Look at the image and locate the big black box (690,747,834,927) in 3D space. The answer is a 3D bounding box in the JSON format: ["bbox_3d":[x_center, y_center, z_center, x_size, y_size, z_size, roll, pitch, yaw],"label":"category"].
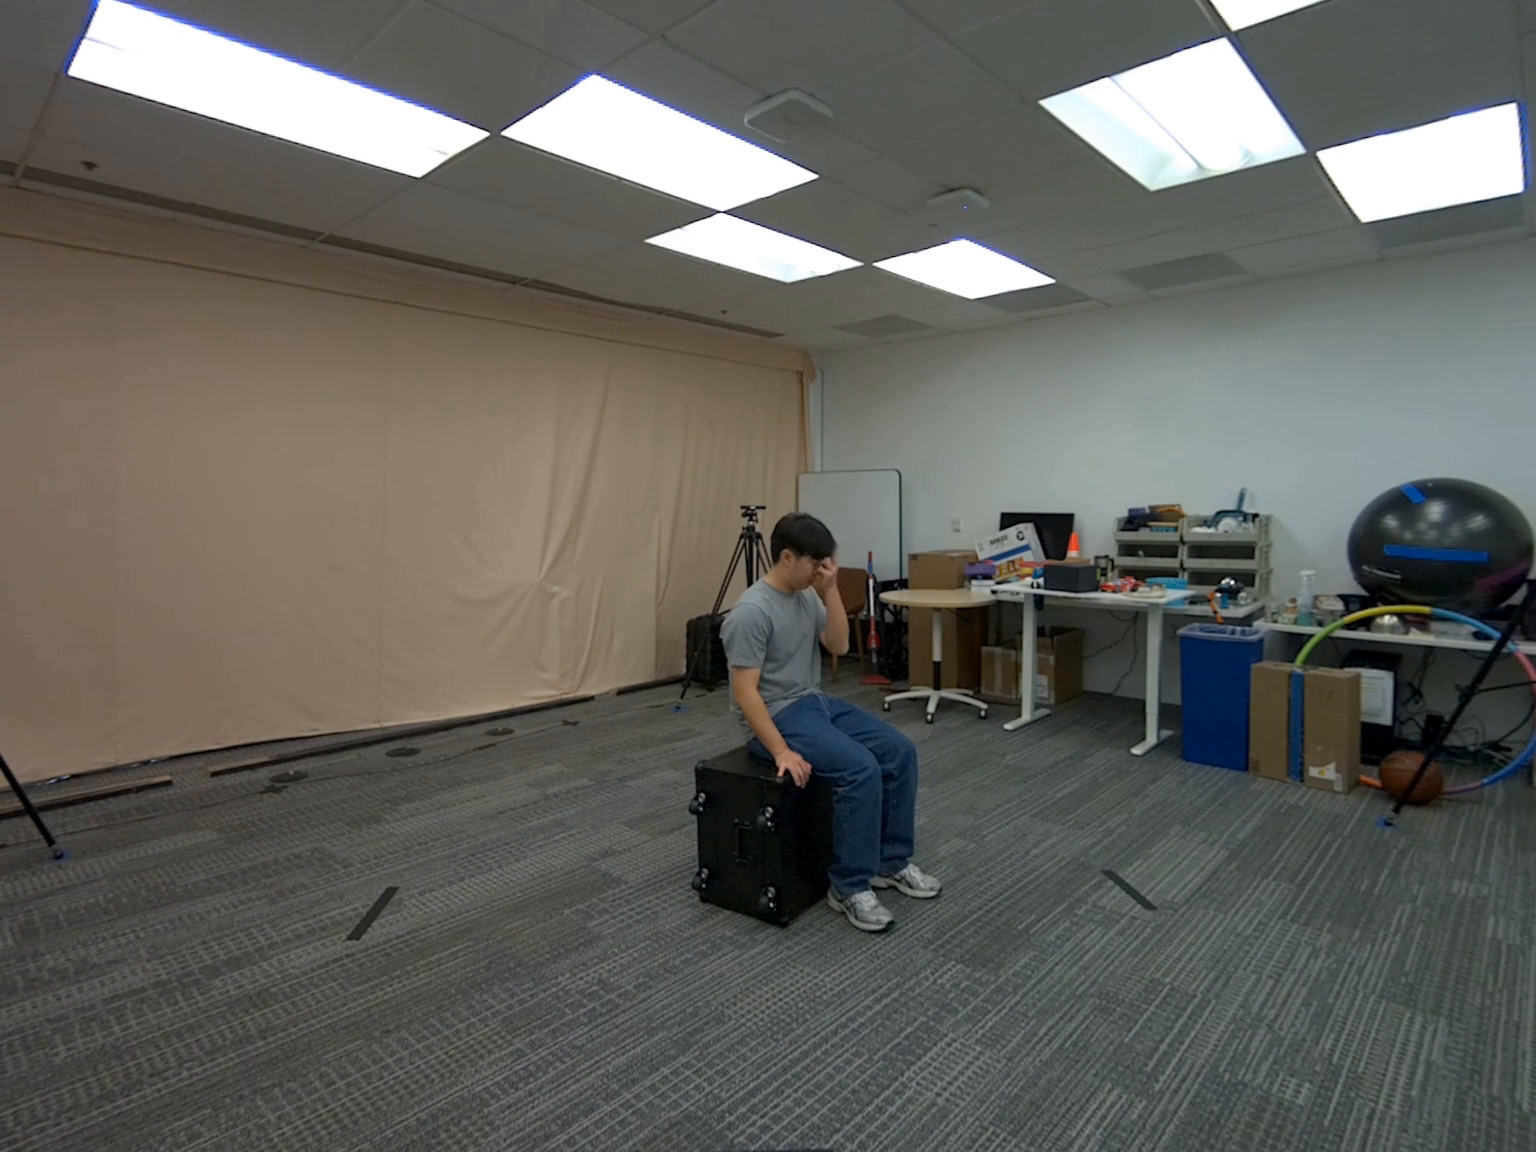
[{"bbox_3d":[0.084,0.876,3.150,0.408,0.520,0.837,0,4,33],"label":"big black box"}]
